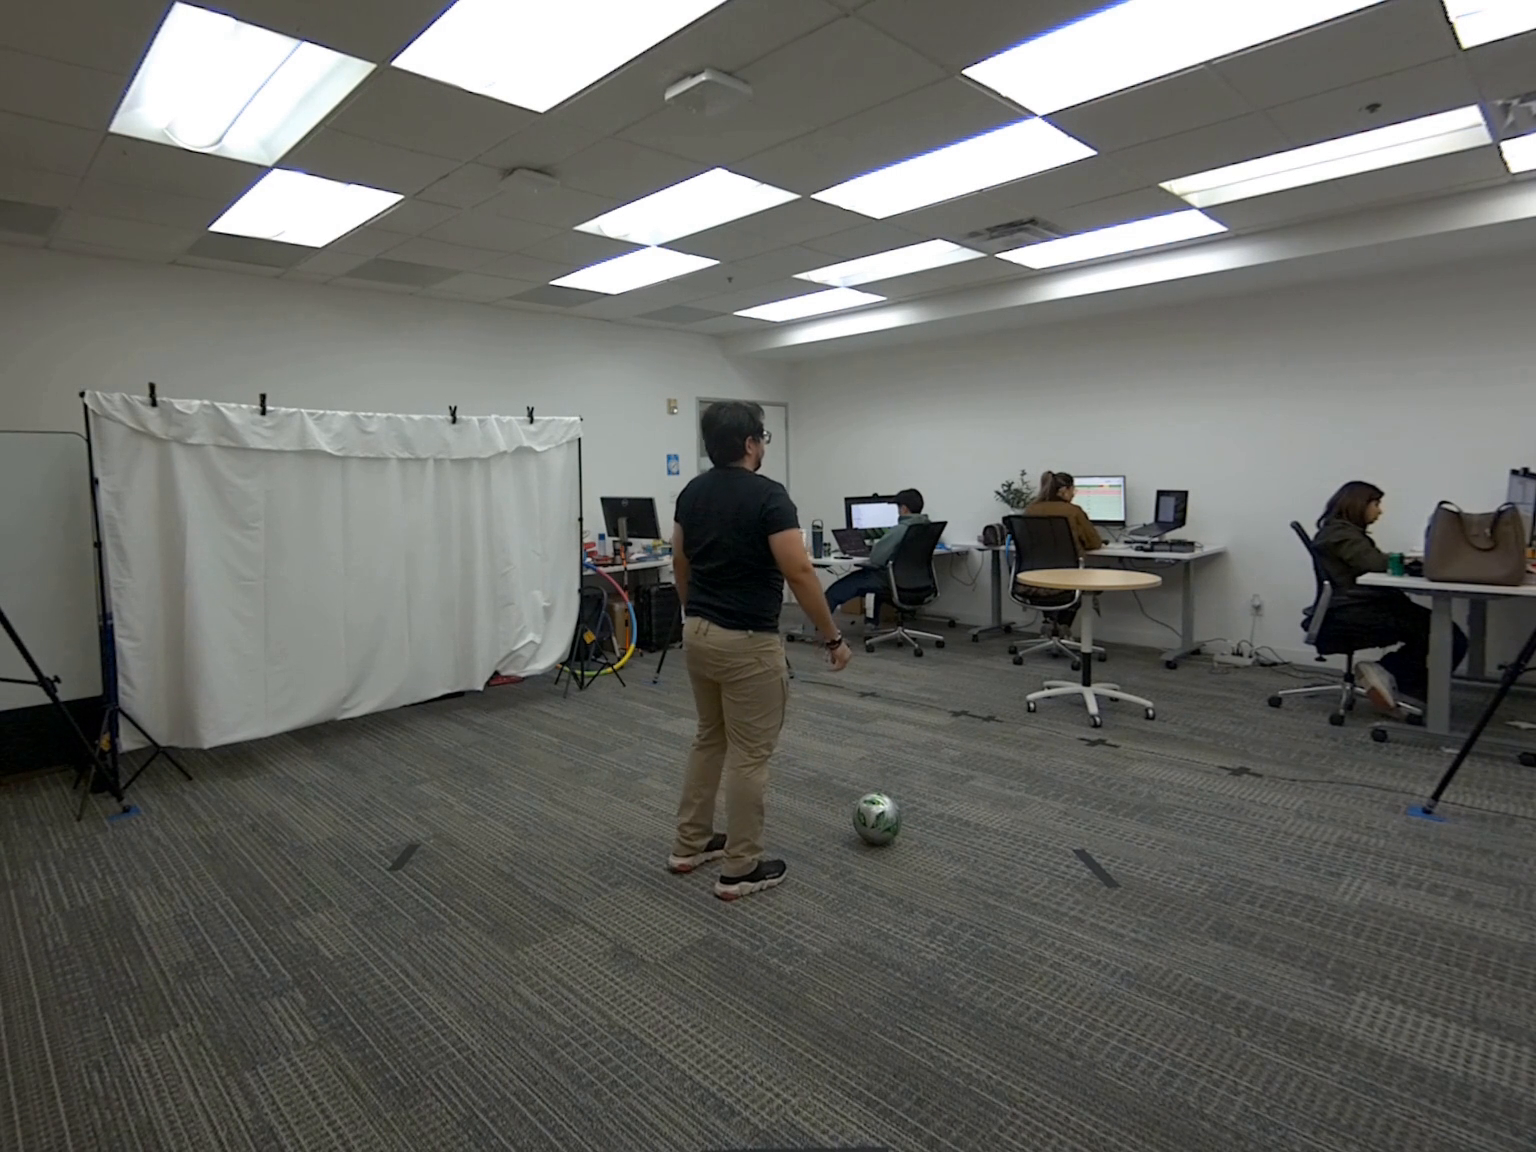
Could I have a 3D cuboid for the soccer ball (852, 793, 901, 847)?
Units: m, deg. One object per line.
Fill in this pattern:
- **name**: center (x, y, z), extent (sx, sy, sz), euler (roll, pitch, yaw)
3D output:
- **soccer ball**: center (0.412, 0.917, 3.240), extent (0.187, 0.187, 0.188), euler (-1, 5, -2)
